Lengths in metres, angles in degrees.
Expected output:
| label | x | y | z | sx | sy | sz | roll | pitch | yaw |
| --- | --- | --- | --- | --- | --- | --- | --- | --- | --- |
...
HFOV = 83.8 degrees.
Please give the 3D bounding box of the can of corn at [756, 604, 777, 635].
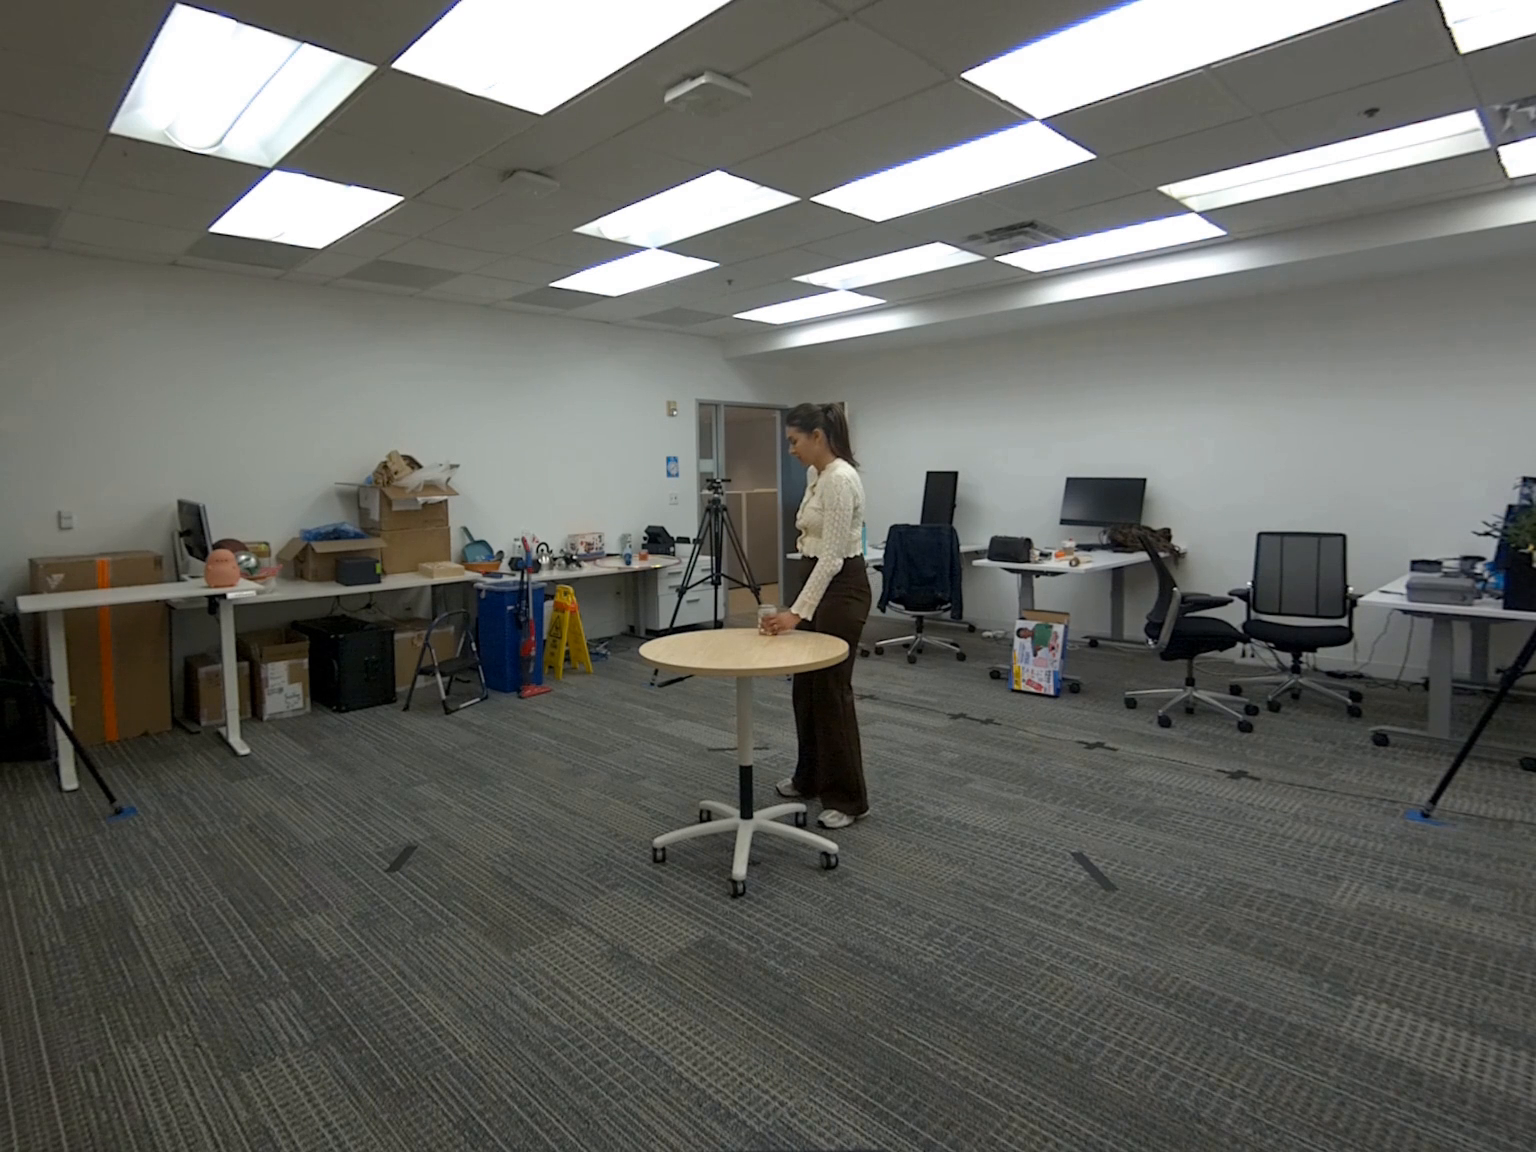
| label | x | y | z | sx | sy | sz | roll | pitch | yaw |
| --- | --- | --- | --- | --- | --- | --- | --- | --- | --- |
| can of corn | 0.003 | 0.174 | 3.380 | 0.074 | 0.110 | 0.074 | 0 | 6 | -2 |
